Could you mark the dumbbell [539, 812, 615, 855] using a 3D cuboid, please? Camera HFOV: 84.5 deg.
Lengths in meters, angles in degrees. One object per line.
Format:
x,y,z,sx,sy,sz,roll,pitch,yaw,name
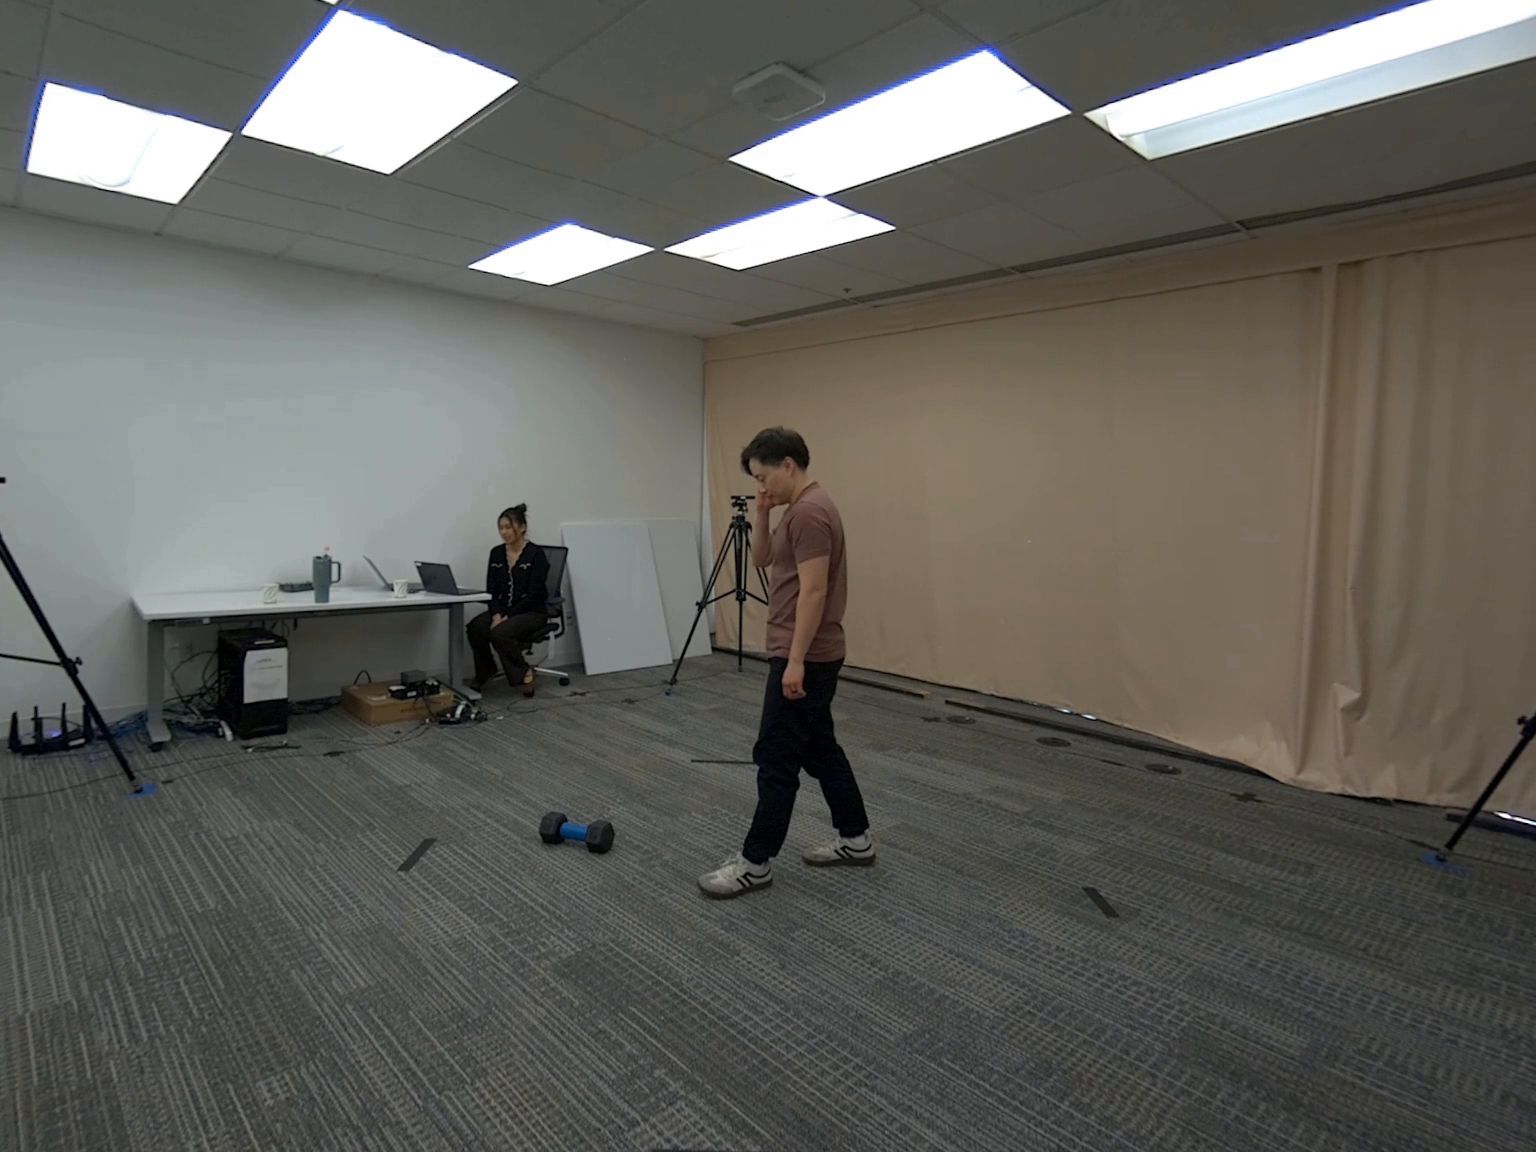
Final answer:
-0.762,1.011,3.326,0.298,0.124,0.105,3,-25,21,dumbbell
